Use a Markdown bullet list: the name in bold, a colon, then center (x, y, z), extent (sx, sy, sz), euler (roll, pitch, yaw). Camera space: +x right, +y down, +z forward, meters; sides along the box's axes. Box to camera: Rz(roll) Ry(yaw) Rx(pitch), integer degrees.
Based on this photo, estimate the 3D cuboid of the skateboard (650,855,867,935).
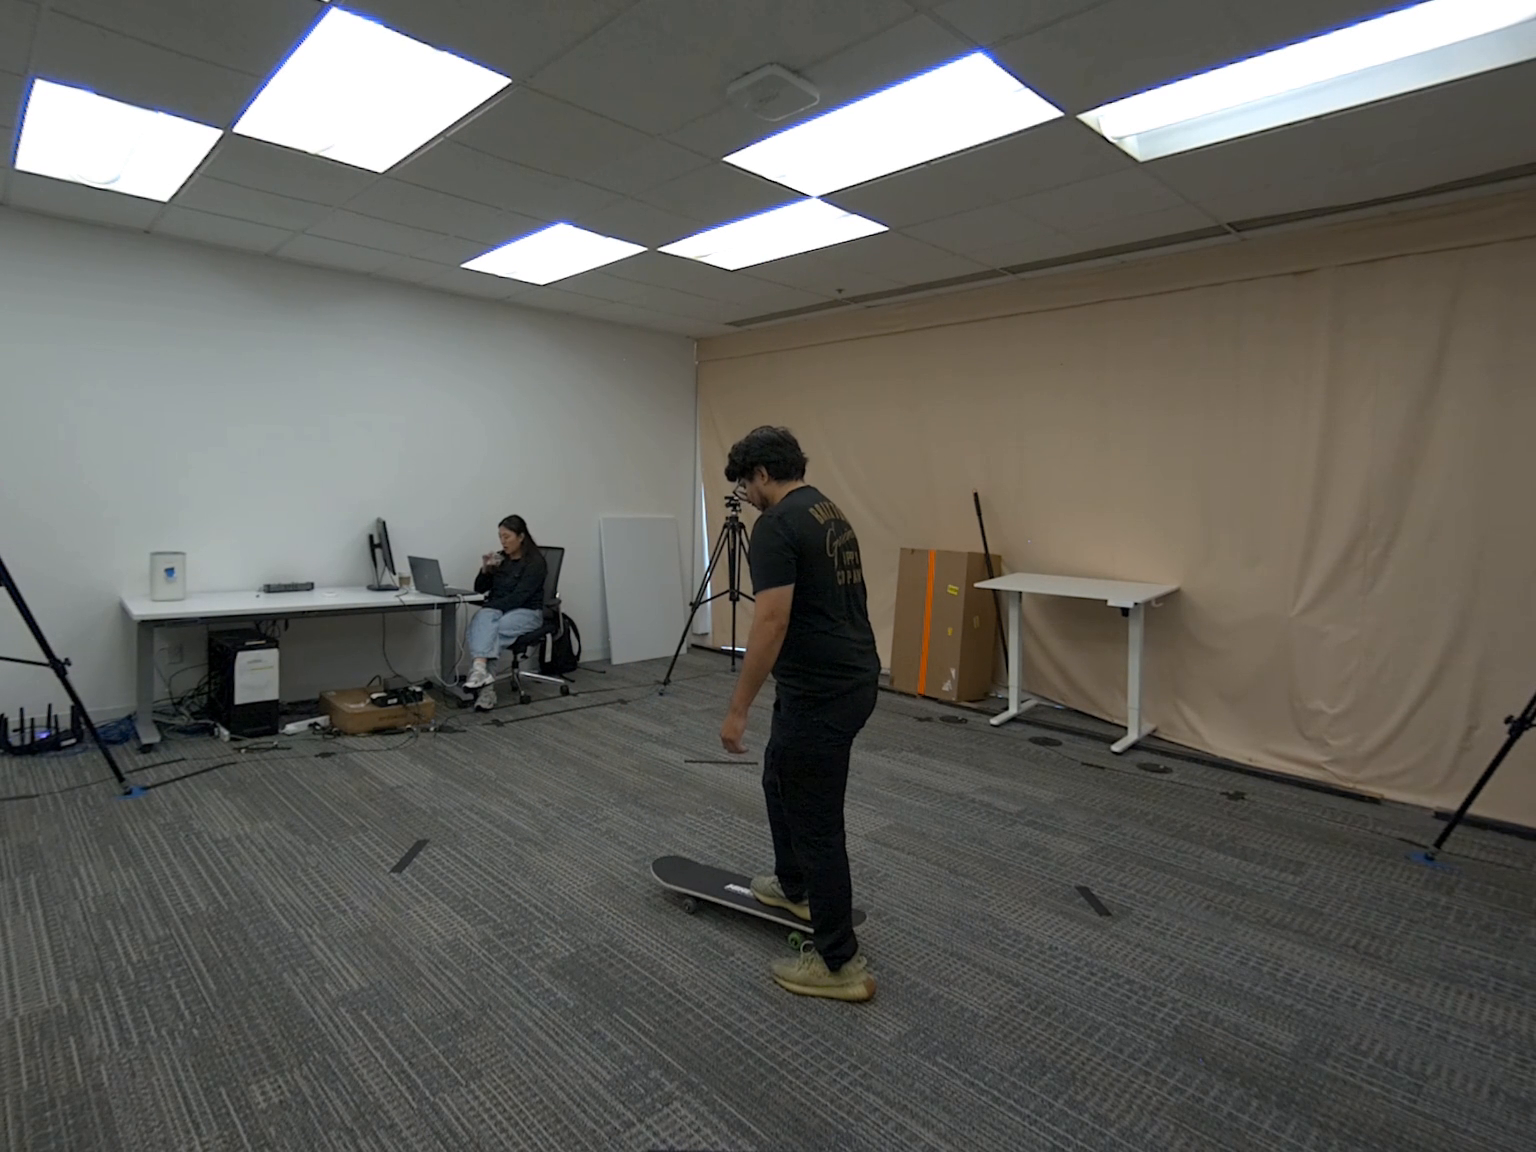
- **skateboard**: center (-0.054, 1.085, 2.769), extent (0.803, 0.110, 0.190), euler (5, 7, 30)
